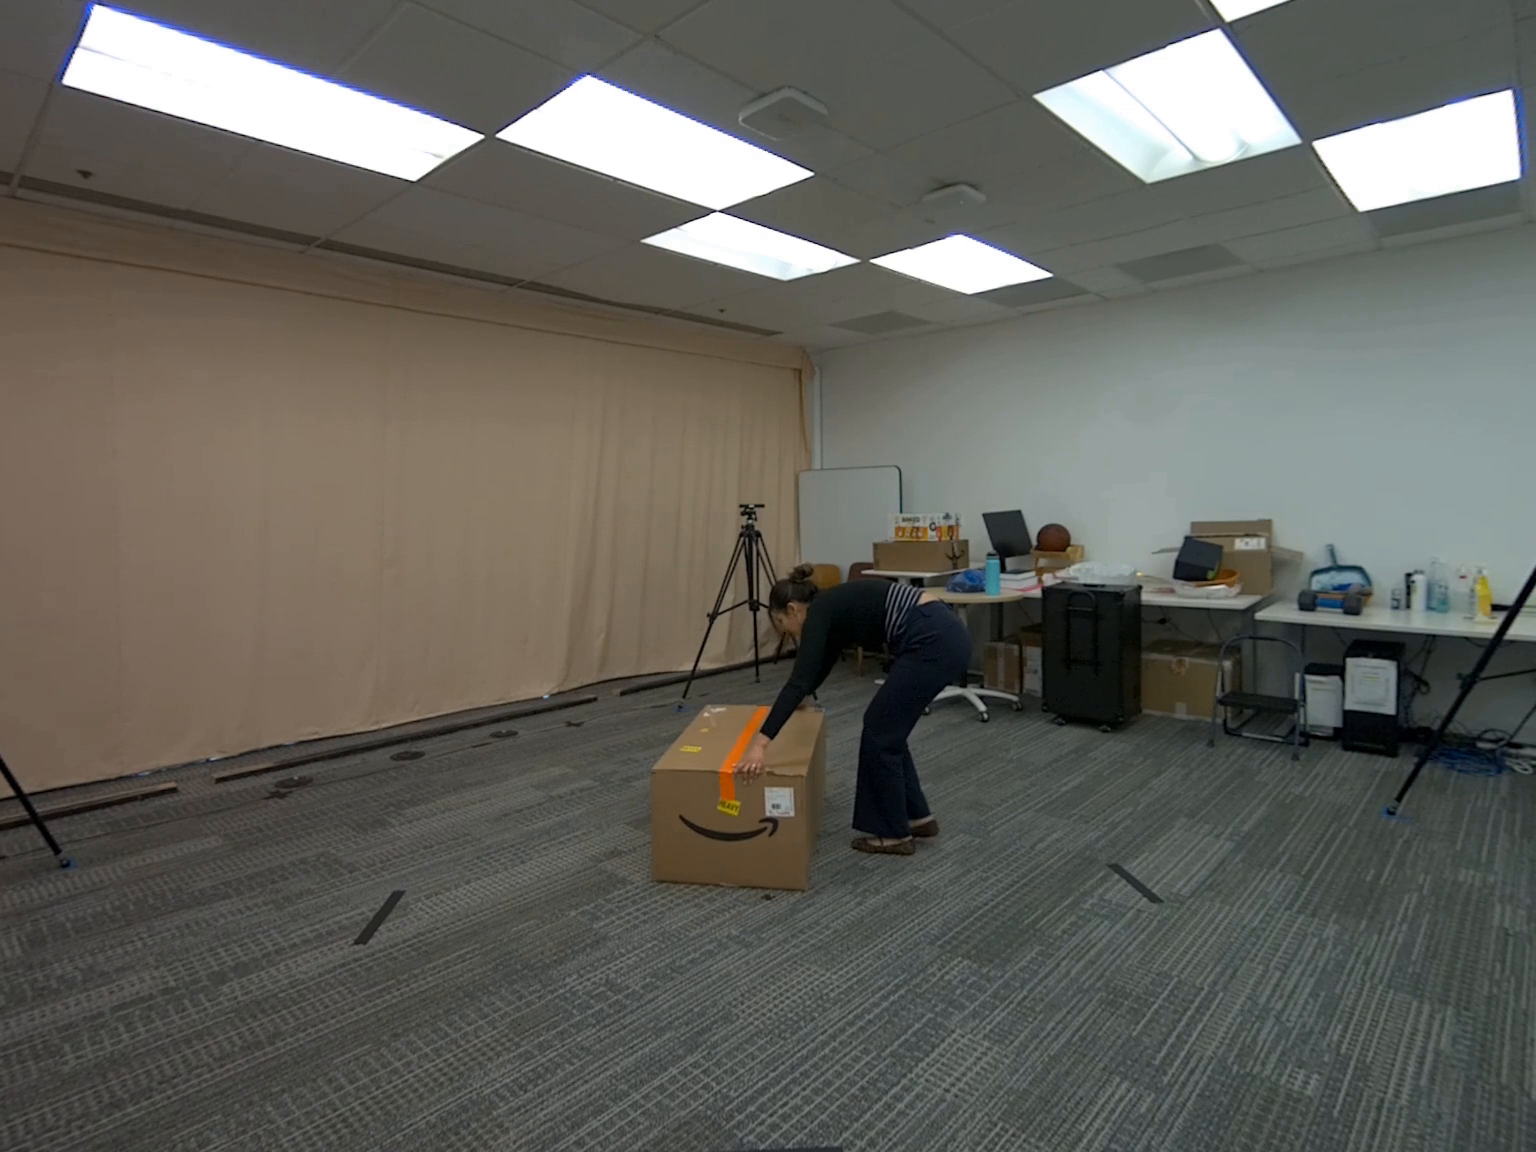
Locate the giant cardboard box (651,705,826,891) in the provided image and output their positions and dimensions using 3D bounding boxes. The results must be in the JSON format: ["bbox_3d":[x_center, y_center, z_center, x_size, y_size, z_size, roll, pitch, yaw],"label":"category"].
[{"bbox_3d":[-0.079,0.873,3.560,0.584,0.425,1.018,-1,5,9],"label":"giant cardboard box"}]
